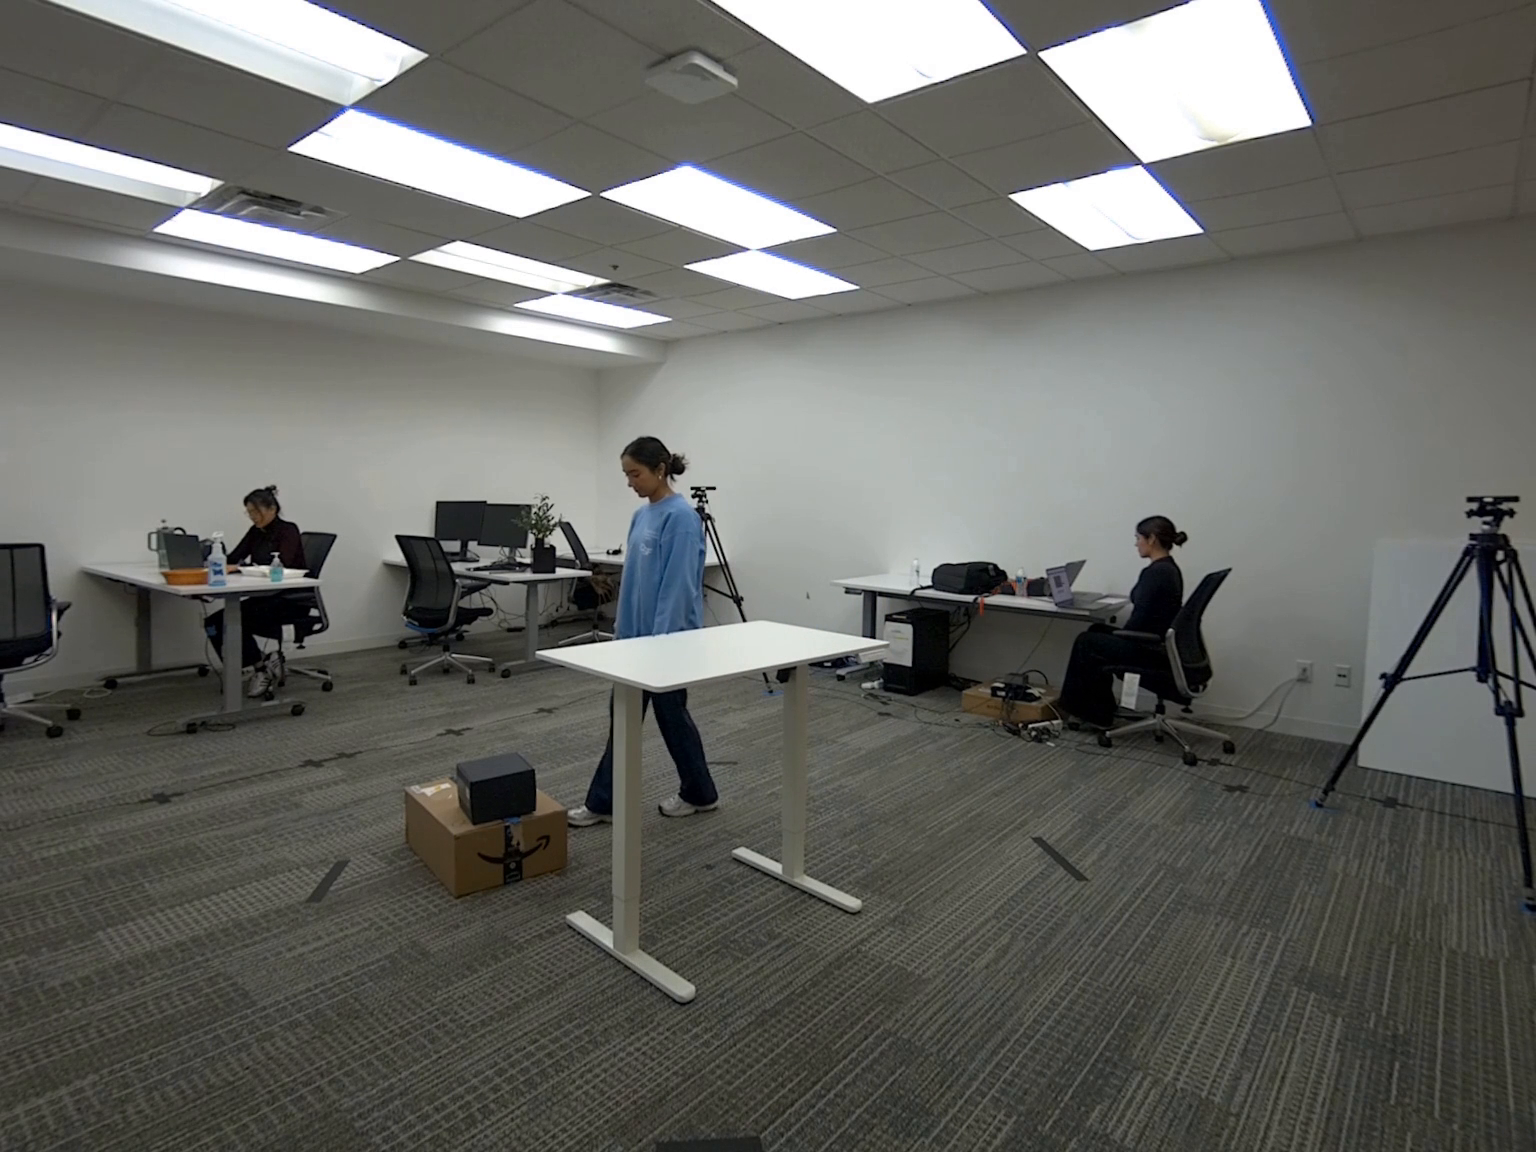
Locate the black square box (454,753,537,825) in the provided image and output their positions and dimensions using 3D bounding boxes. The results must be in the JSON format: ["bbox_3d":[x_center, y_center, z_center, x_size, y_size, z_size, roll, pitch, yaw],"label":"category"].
[{"bbox_3d":[-0.988,0.752,3.060,0.222,0.155,0.224,-5,8,-30],"label":"black square box"}]
